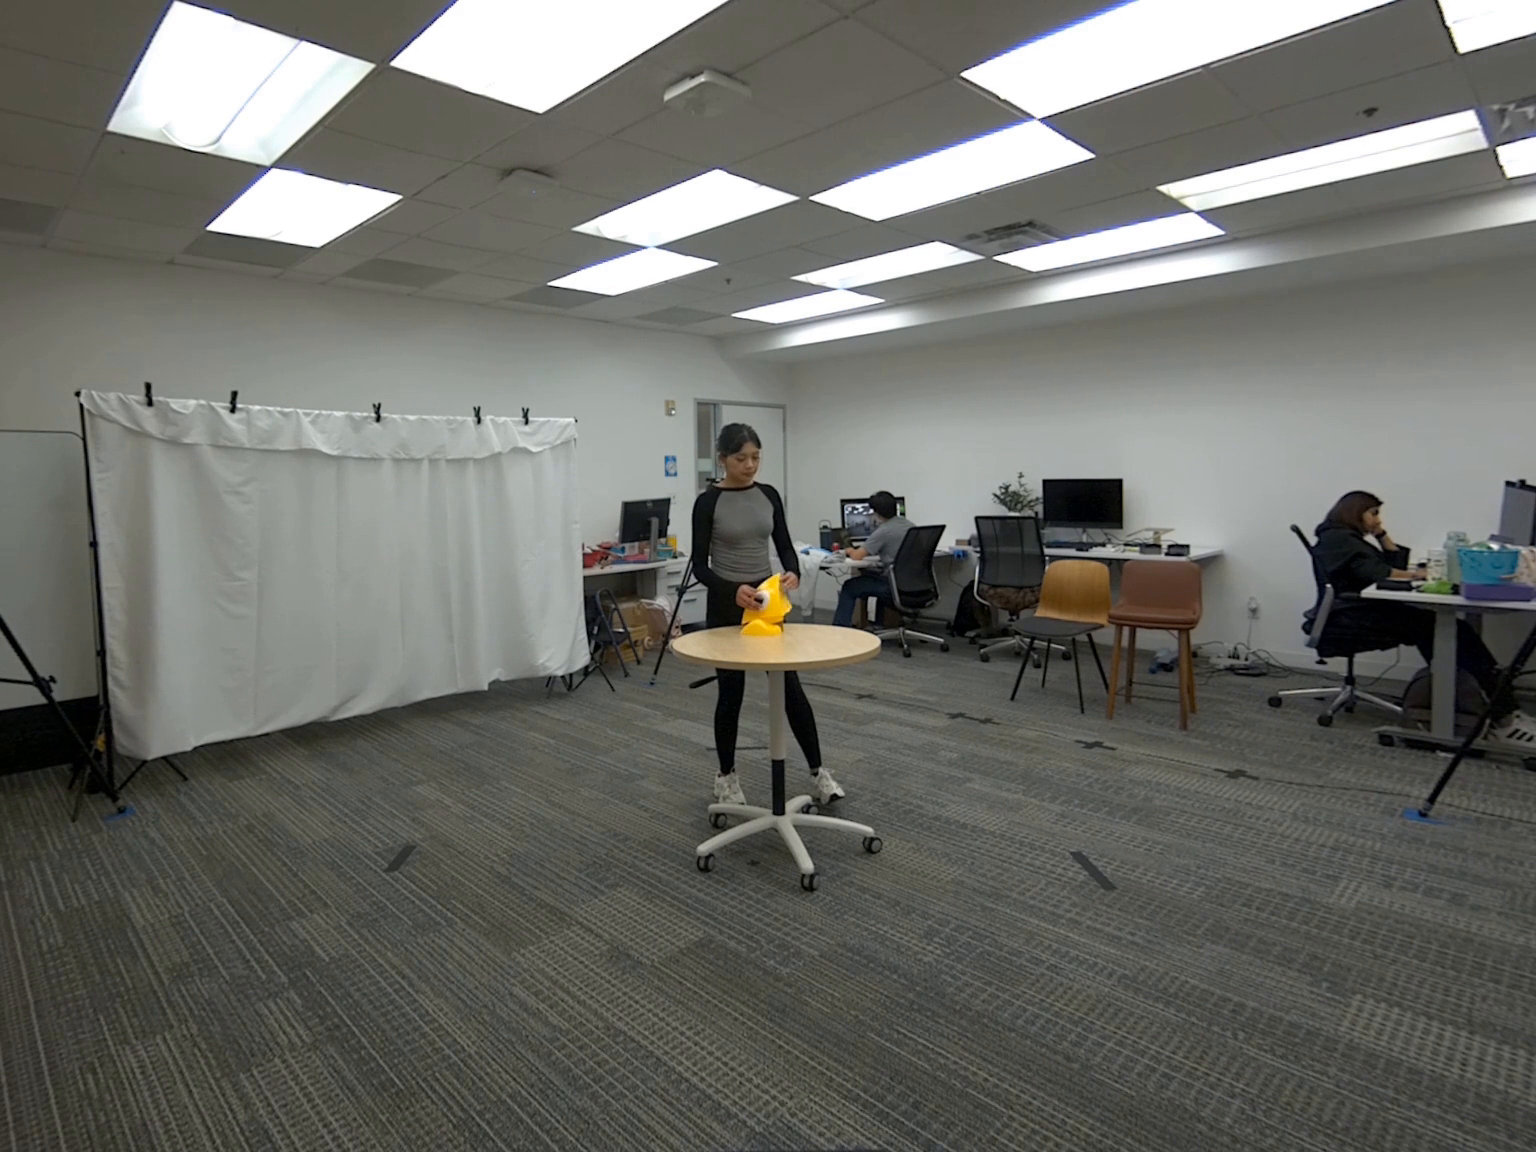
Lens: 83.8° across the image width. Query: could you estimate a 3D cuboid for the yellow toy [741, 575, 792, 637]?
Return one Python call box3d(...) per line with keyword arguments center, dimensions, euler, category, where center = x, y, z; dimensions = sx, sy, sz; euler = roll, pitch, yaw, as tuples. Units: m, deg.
box3d(center=(-0.014, 0.107, 3.378), dimensions=(0.195, 0.230, 0.203), euler=(-1, 3, 12), category="yellow toy")
